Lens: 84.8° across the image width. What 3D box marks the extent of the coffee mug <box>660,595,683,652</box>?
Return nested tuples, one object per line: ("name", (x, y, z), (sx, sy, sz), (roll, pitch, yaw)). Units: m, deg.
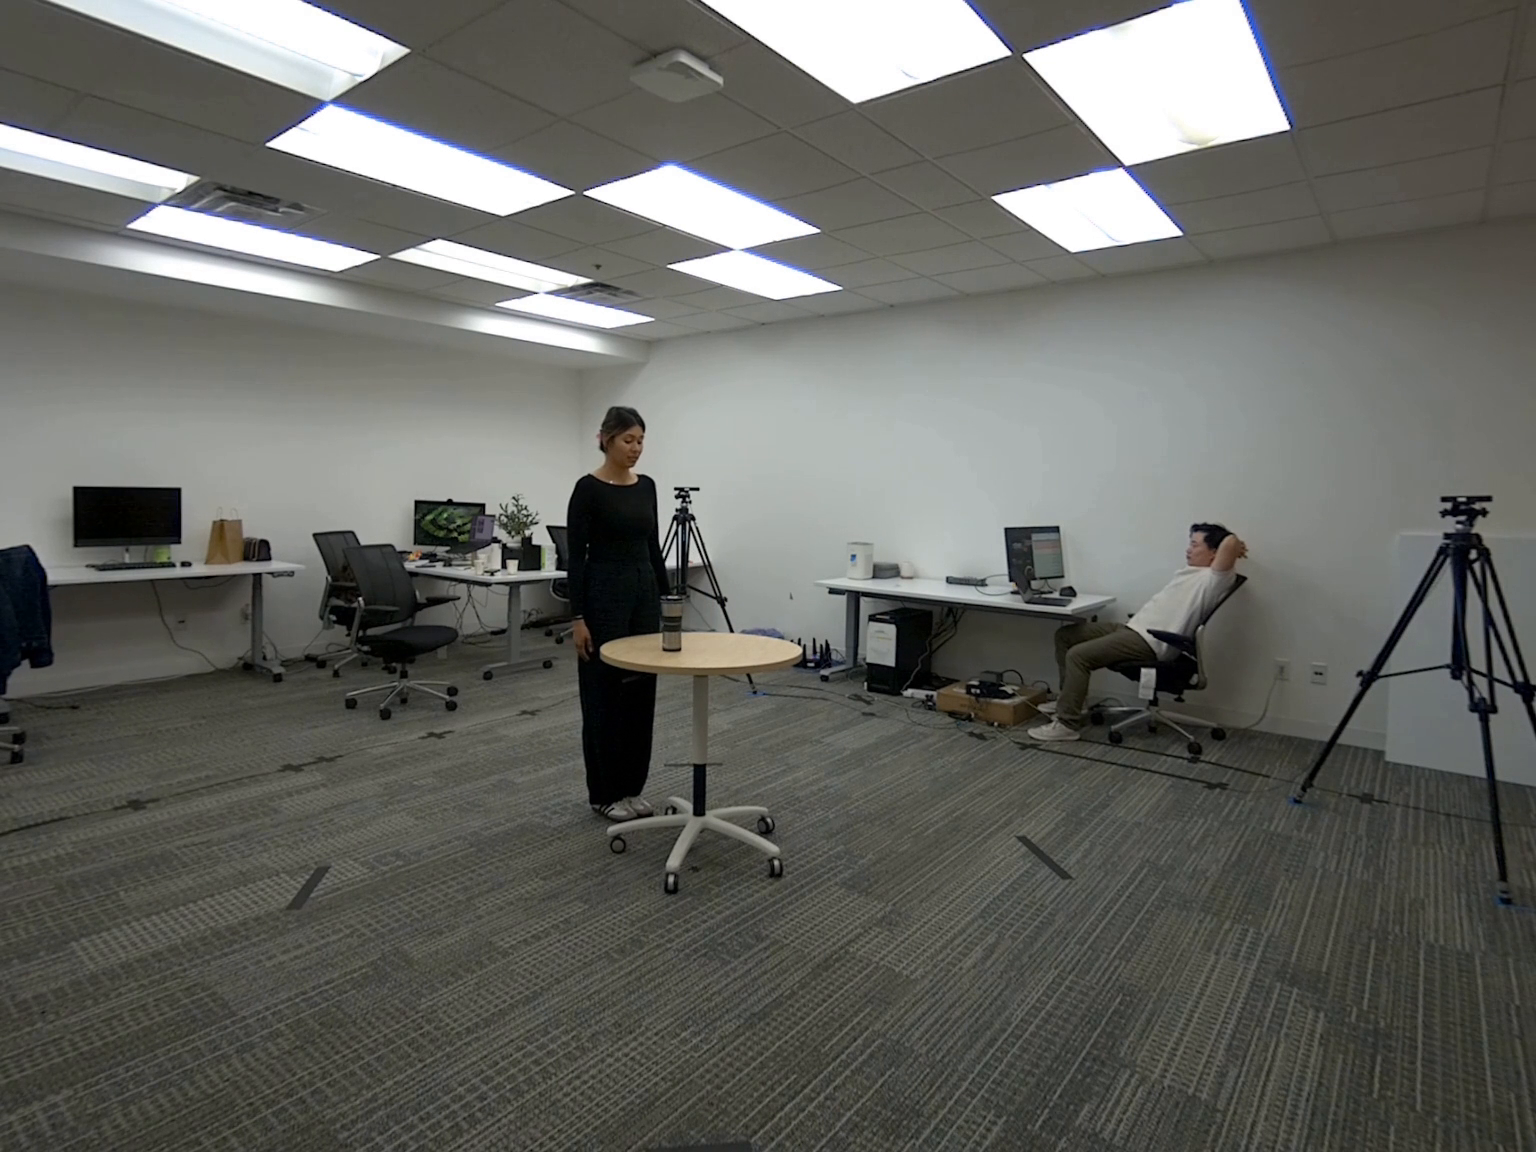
("coffee mug", (-0.355, 0.177, 3.182), (0.090, 0.202, 0.119), (-2, 4, 26))
